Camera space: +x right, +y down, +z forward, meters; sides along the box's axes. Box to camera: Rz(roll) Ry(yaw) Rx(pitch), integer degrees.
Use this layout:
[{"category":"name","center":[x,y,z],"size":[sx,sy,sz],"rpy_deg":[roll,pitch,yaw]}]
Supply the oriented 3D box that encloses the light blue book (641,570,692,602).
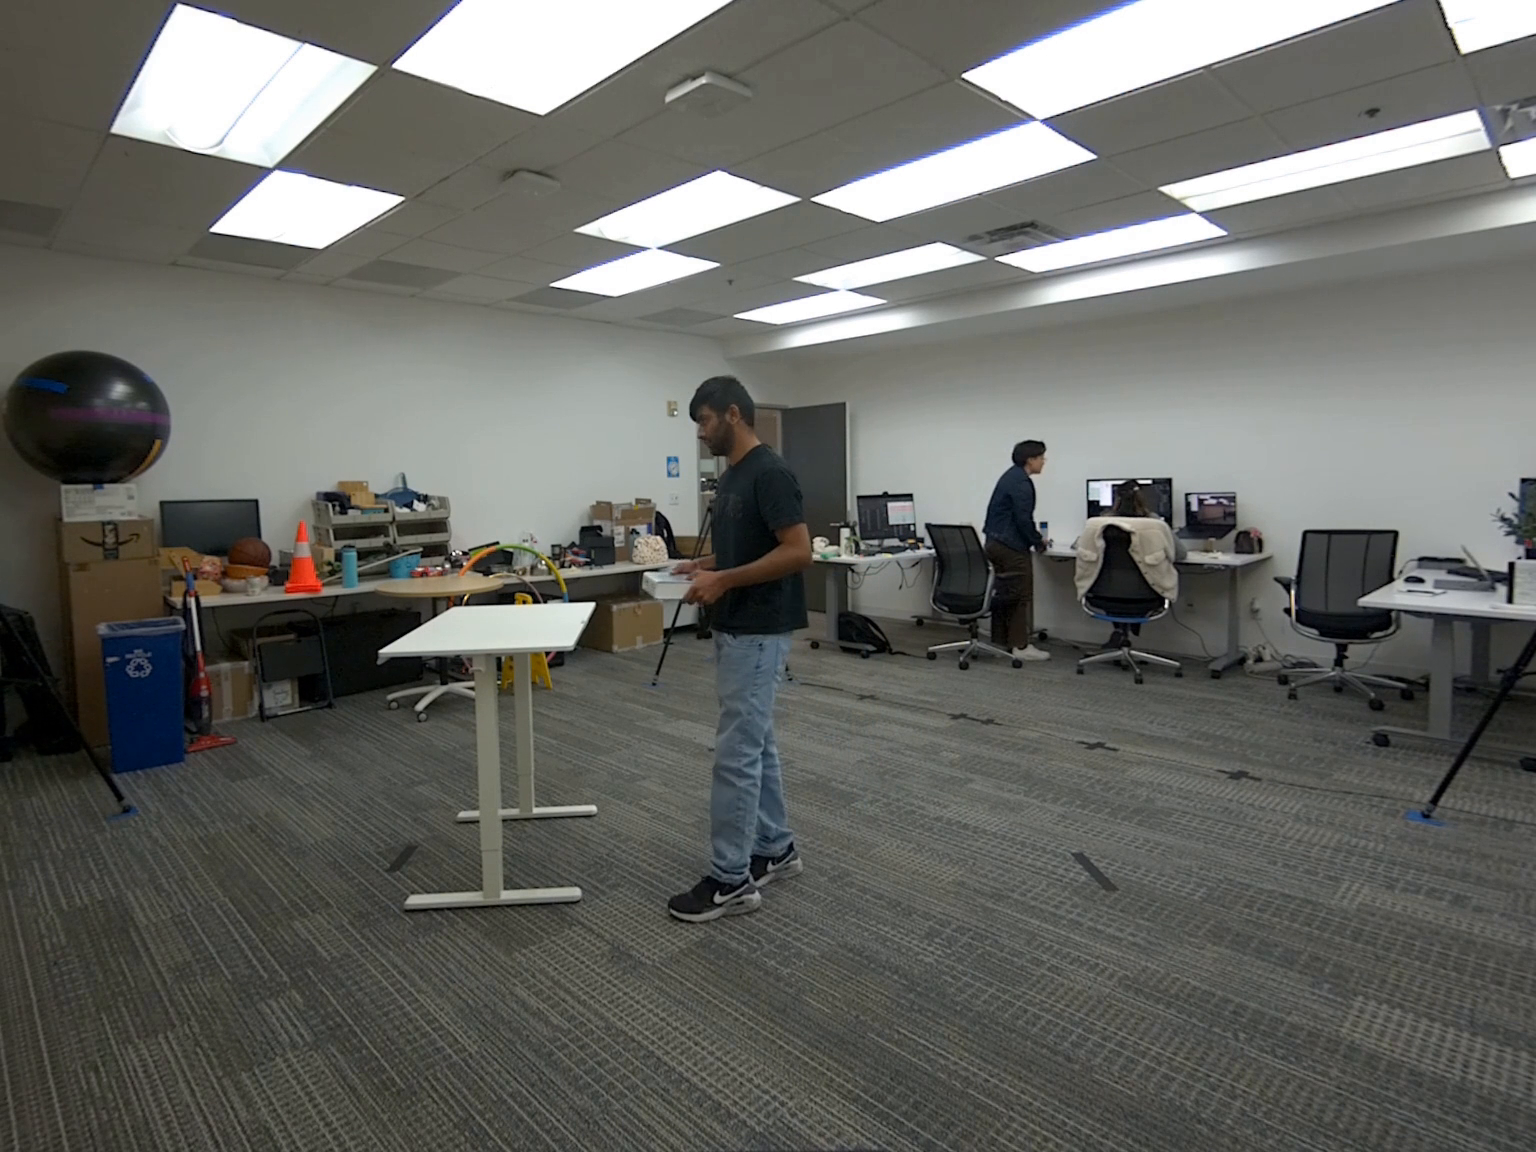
[{"category":"light blue book","center":[-0.300,0.031,2.803],"size":[0.190,0.059,0.264],"rpy_deg":[2,5,-8]}]
